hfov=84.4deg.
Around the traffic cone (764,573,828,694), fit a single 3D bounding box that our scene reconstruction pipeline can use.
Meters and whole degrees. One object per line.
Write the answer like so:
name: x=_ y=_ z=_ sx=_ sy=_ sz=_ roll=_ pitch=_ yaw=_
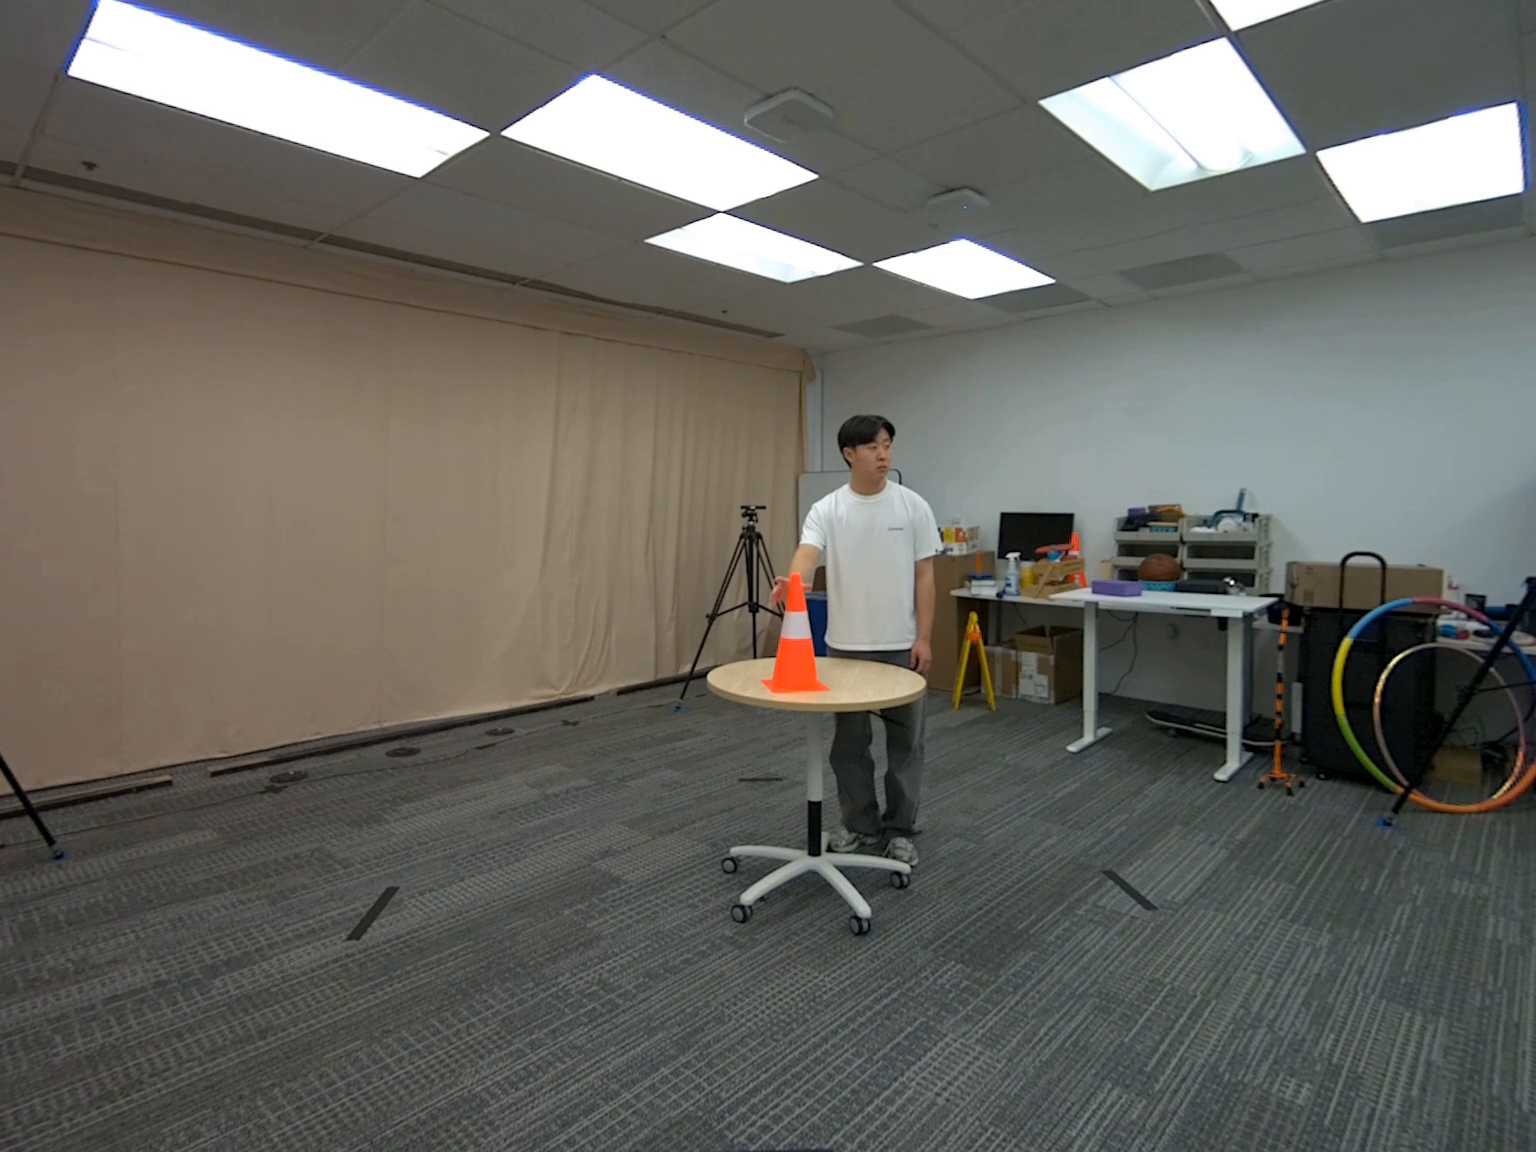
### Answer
traffic cone: x=0.096 y=0.188 z=2.839 sx=0.203 sy=0.383 sz=0.206 roll=-2 pitch=4 yaw=-11
